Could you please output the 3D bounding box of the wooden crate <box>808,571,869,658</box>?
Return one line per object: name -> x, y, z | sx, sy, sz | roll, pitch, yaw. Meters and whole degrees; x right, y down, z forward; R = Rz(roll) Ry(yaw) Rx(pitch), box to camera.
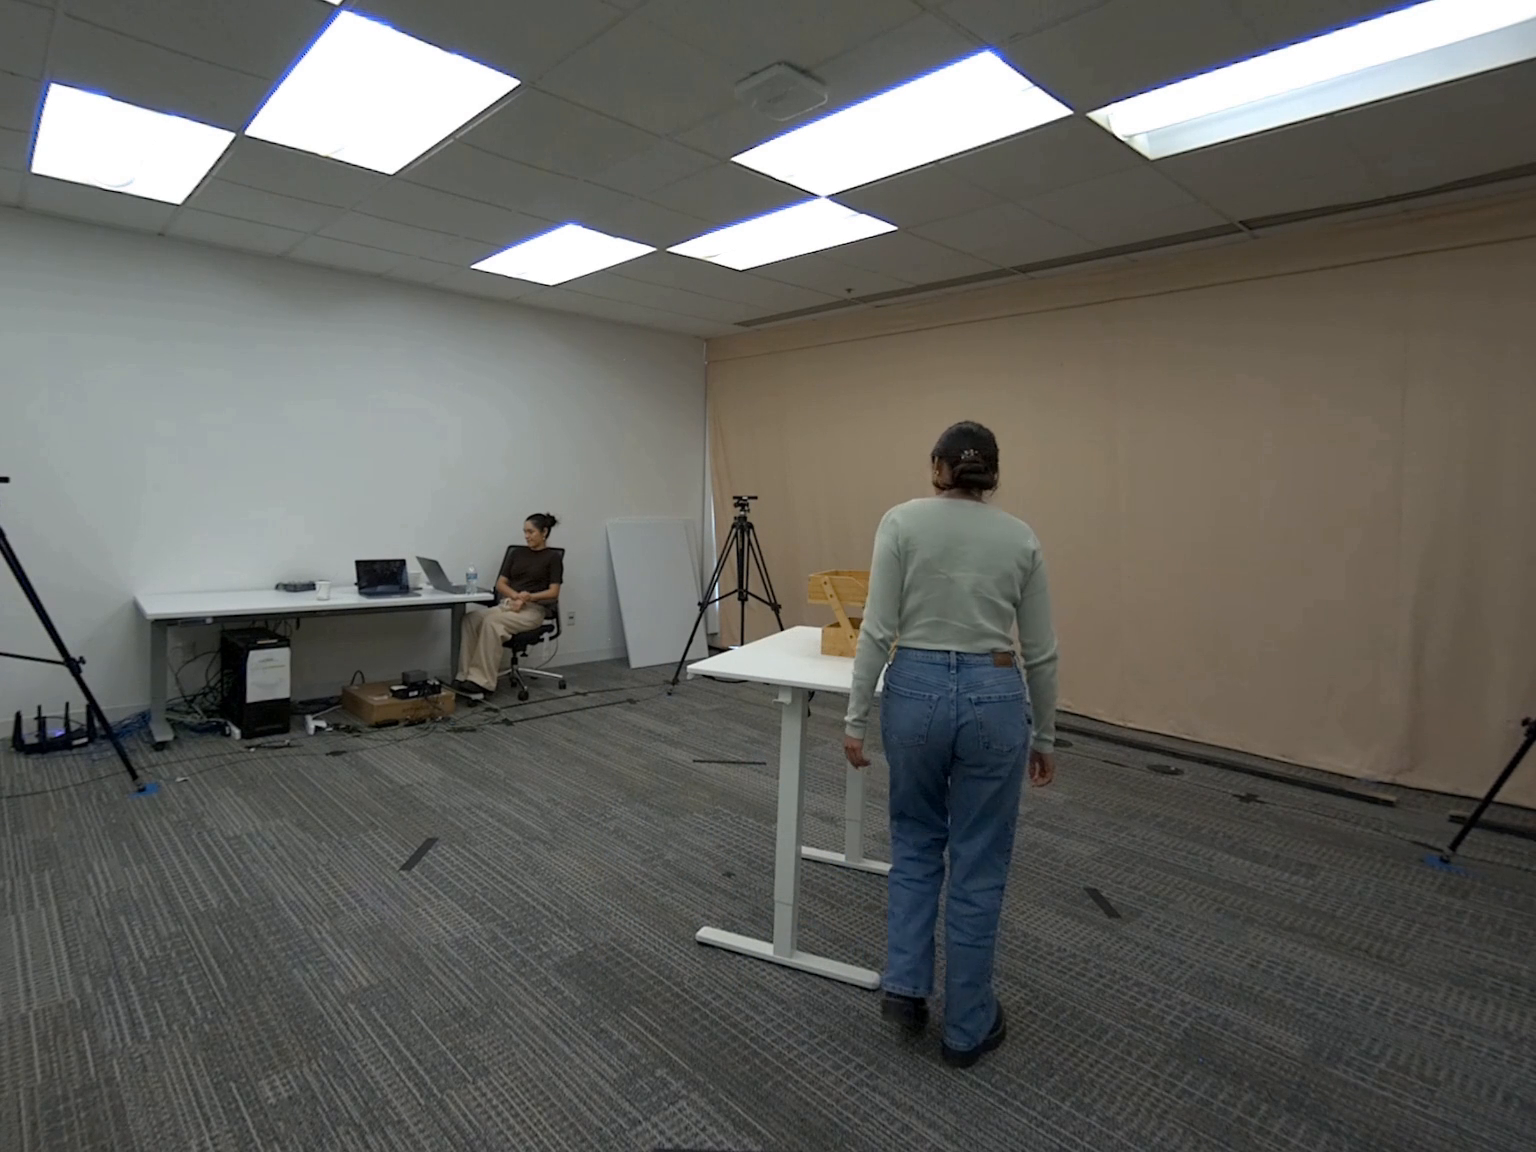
wooden crate -> 0.318, 0.125, 2.863 | 0.307, 0.273, 0.320 | 3, 4, 19
